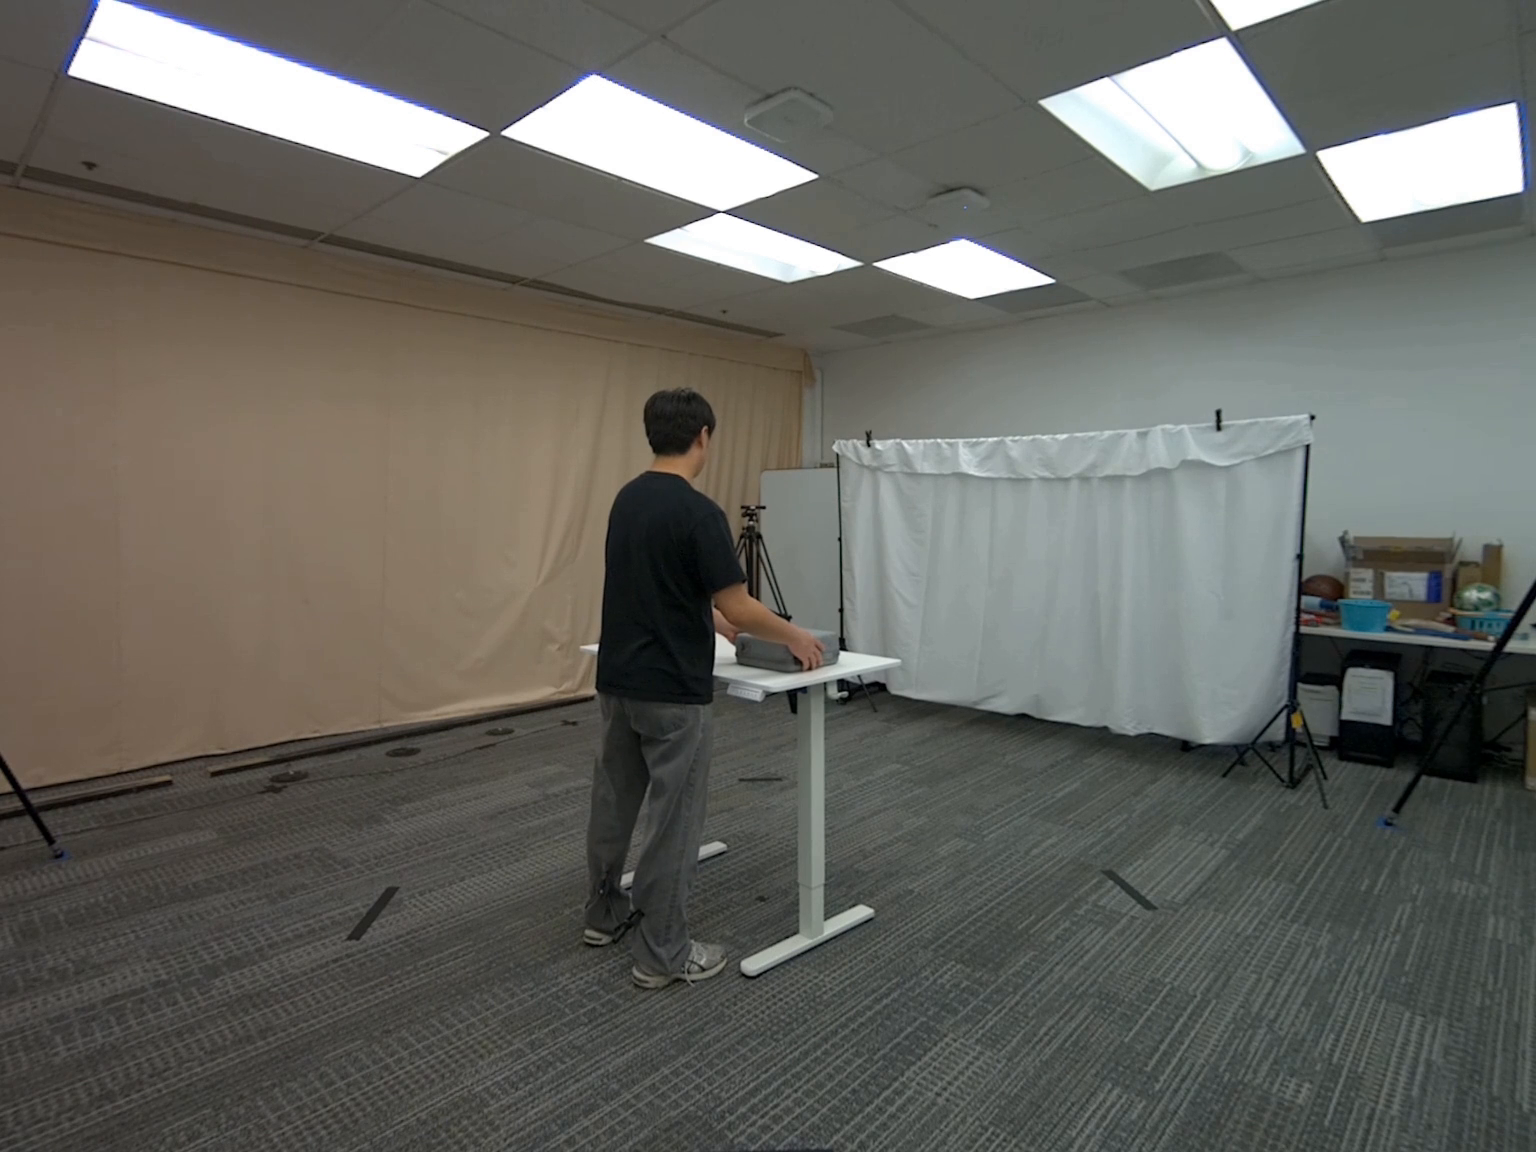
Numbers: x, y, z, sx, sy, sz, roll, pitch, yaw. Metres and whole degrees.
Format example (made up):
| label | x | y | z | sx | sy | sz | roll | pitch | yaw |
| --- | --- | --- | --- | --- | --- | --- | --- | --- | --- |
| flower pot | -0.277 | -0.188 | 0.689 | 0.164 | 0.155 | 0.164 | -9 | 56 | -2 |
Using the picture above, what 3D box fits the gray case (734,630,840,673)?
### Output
| label | x | y | z | sx | sy | sz | roll | pitch | yaw |
| --- | --- | --- | --- | --- | --- | --- | --- | --- | --- |
| gray case | 0.060 | 0.231 | 2.703 | 0.255 | 0.103 | 0.297 | -5 | 7 | -45 |
